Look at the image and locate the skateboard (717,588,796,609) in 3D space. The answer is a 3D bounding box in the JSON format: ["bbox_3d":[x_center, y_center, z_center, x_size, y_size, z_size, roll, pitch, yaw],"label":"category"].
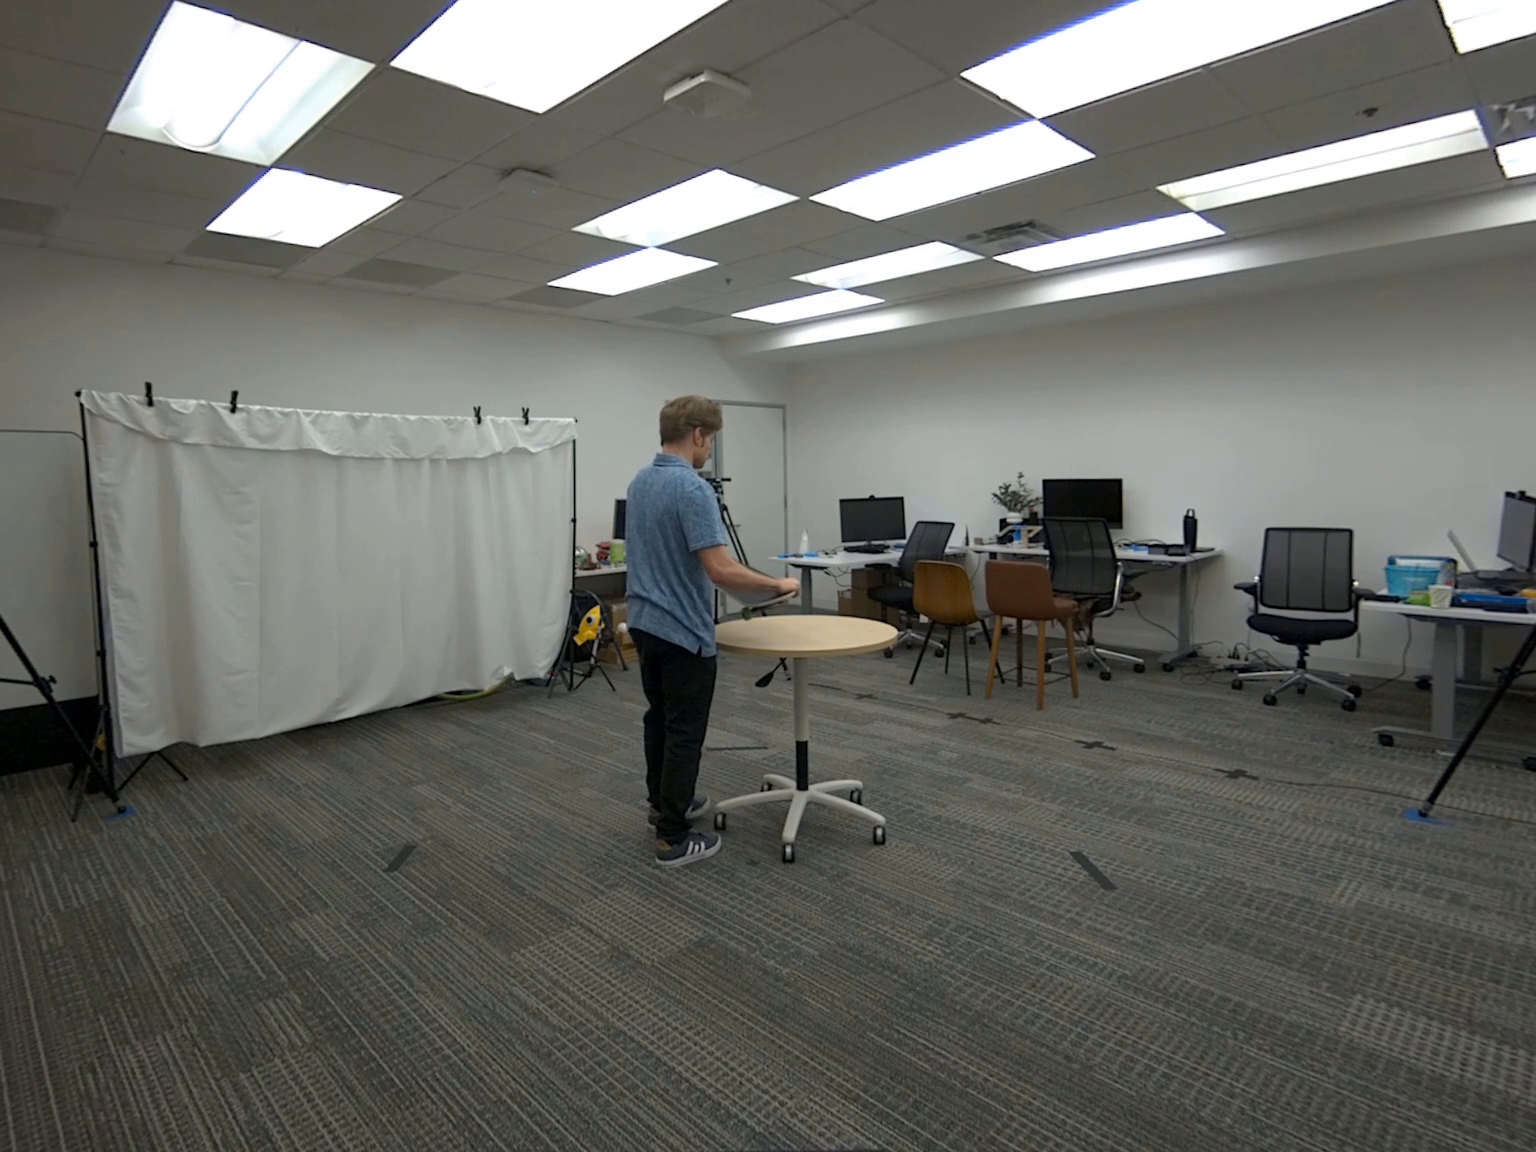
[{"bbox_3d":[-0.103,0.052,3.379,0.191,0.108,0.809,-21,19,-22],"label":"skateboard"}]
